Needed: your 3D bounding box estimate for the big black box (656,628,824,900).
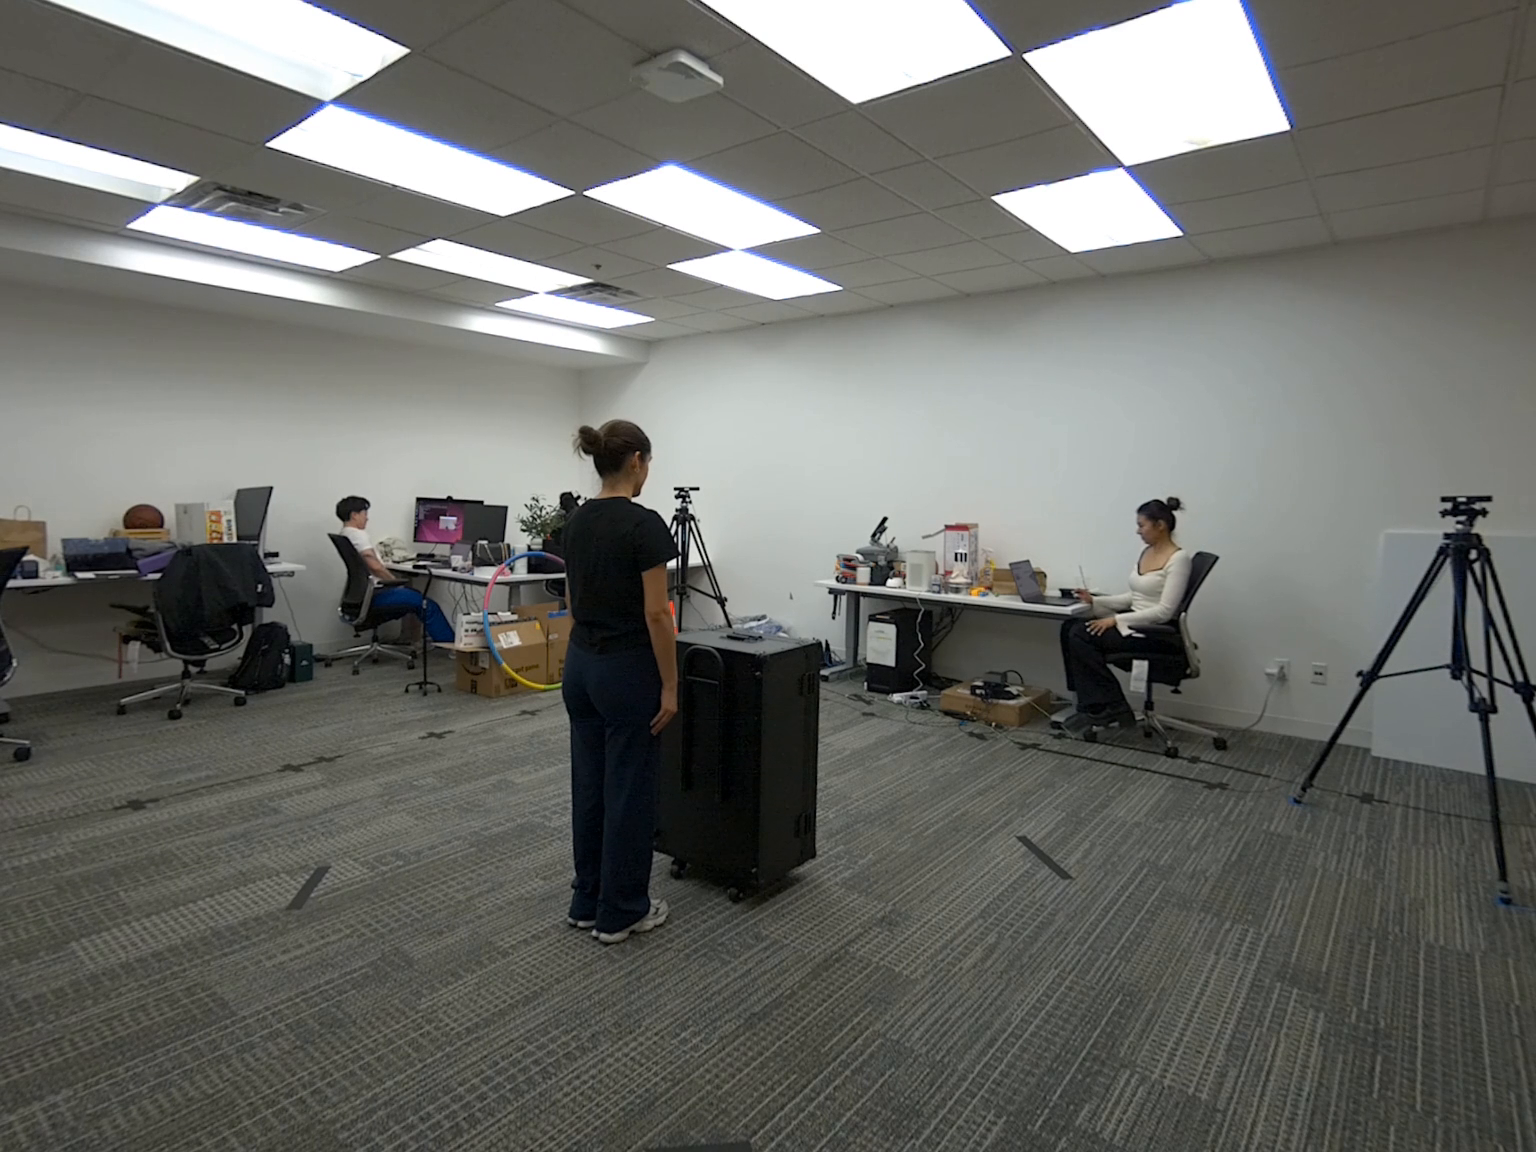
[{"bbox_3d":[-0.109,0.590,3.060,0.539,0.859,0.384,4,4,38],"label":"big black box"}]
